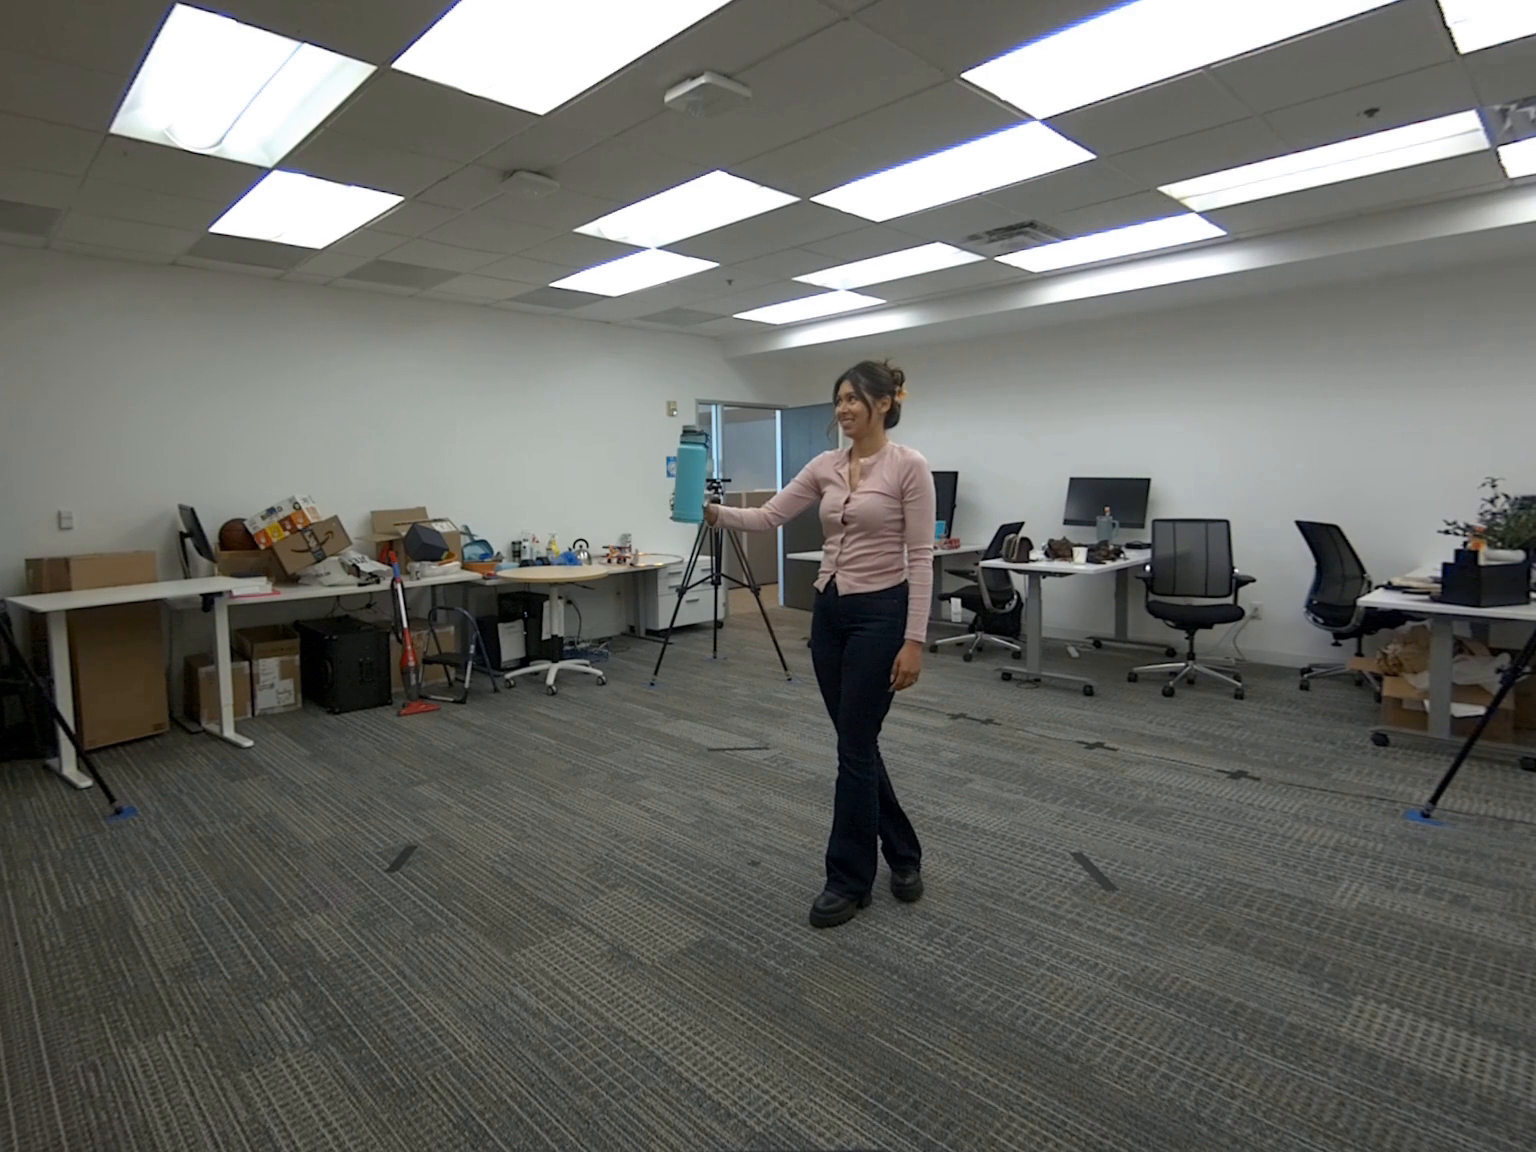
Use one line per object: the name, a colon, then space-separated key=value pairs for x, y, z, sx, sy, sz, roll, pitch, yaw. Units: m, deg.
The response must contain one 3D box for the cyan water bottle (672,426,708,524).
cyan water bottle: x=-0.217 y=-0.301 z=2.503 sx=0.092 sy=0.282 sz=0.093 roll=5 pitch=4 yaw=-2
